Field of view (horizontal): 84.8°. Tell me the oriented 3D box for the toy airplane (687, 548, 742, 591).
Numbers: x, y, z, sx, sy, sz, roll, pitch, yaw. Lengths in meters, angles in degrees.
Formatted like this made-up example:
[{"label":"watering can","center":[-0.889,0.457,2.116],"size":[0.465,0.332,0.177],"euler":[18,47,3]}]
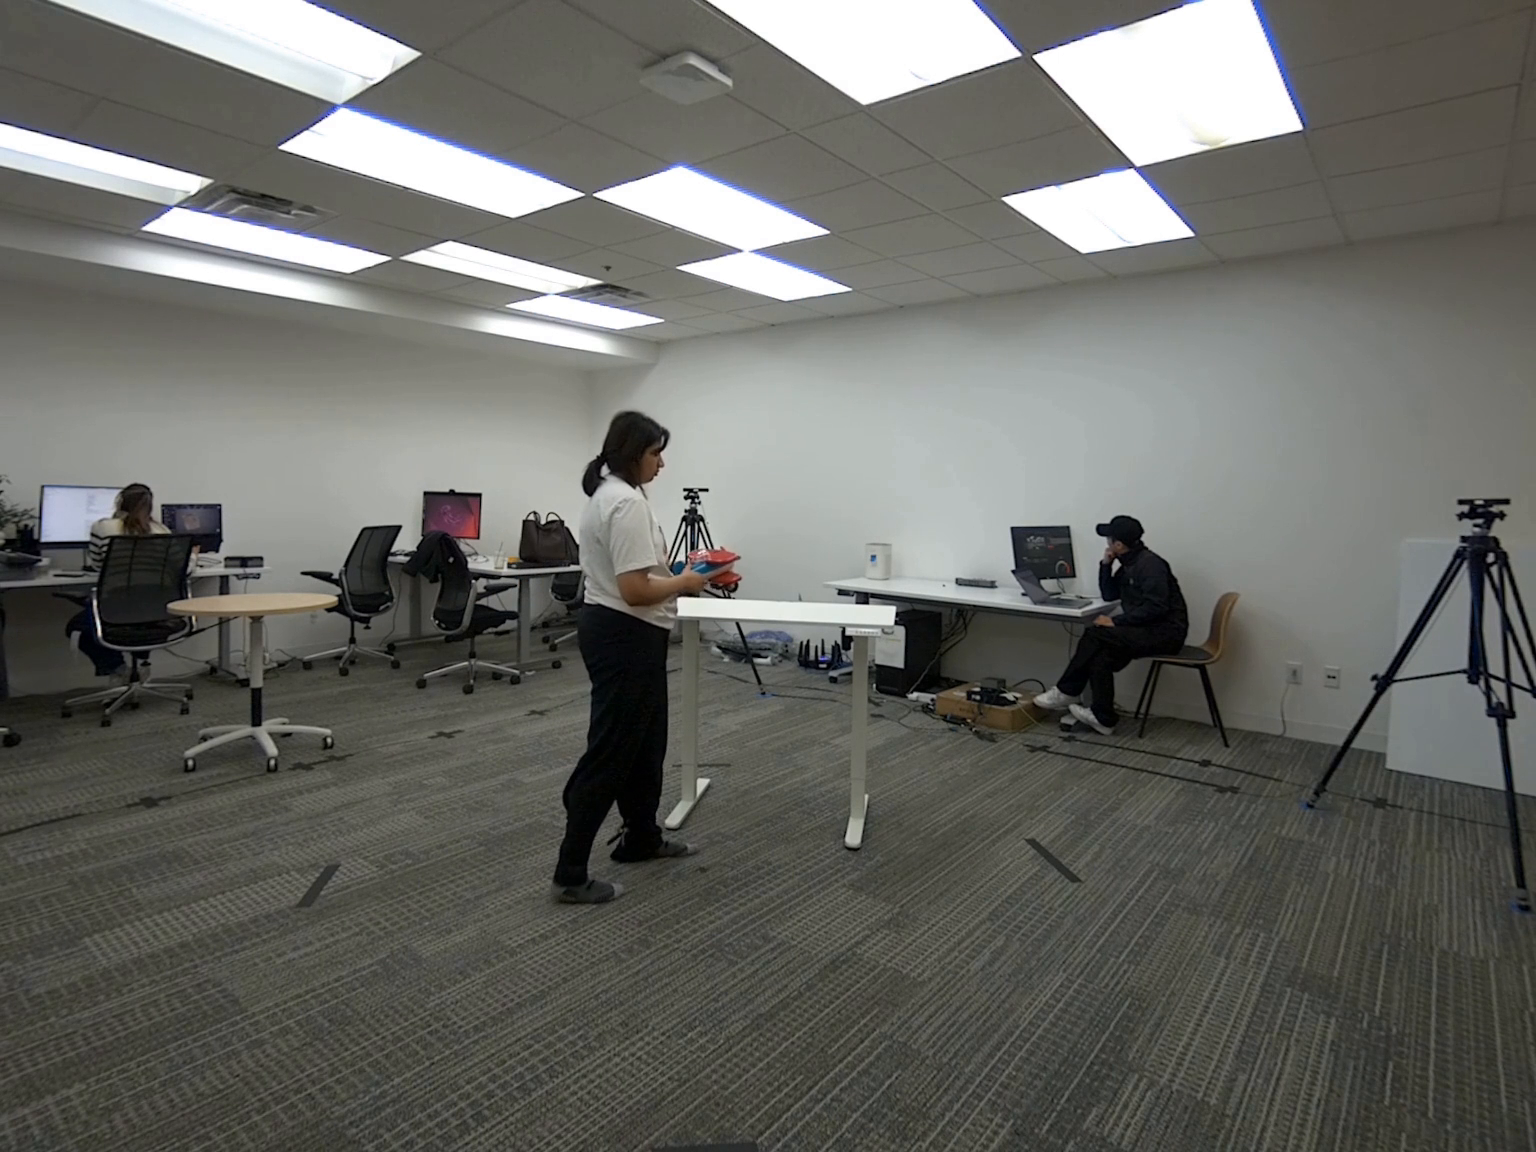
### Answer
[{"label":"toy airplane","center":[-0.226,-0.009,3.099],"size":[0.257,0.155,0.255],"euler":[4,8,21]}]
